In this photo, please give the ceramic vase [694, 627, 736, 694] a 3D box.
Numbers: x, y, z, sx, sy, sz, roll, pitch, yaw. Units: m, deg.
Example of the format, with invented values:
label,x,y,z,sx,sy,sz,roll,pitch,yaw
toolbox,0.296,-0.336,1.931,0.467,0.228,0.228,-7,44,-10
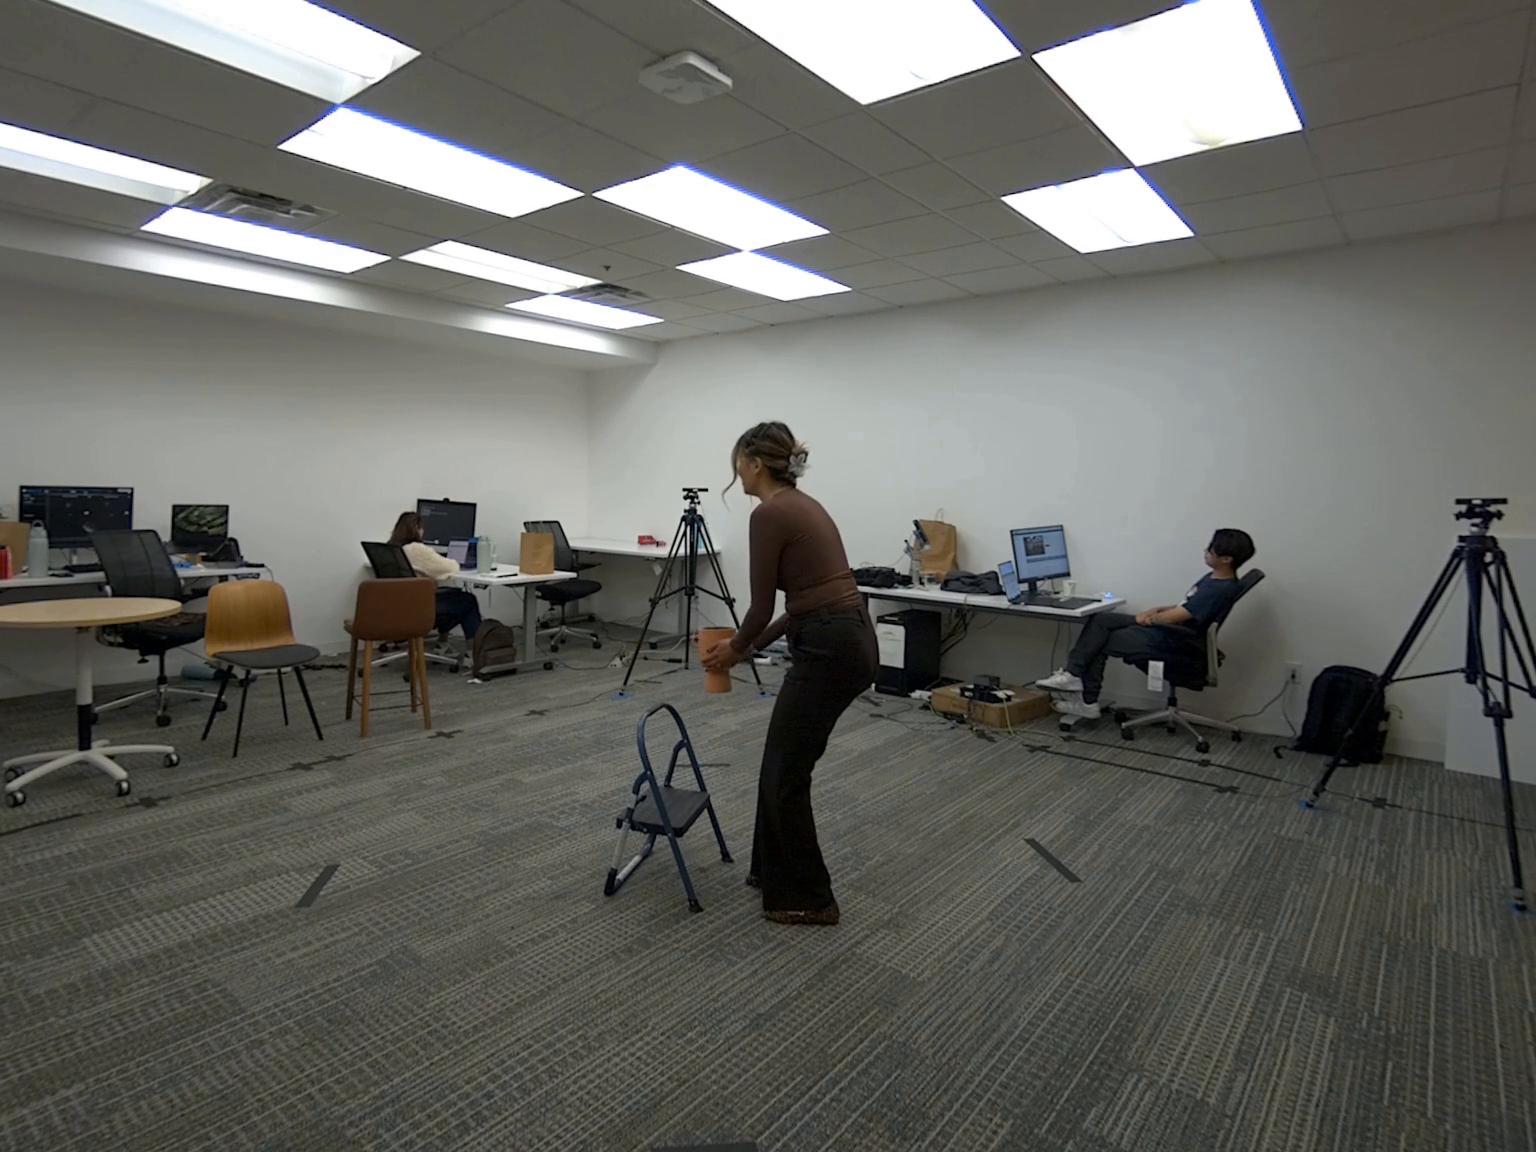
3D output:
label,x,y,z,sx,sy,sz,roll,pitch,yaw
ceramic vase,-0.183,0.293,2.992,0.131,0.220,0.163,-1,1,-36
